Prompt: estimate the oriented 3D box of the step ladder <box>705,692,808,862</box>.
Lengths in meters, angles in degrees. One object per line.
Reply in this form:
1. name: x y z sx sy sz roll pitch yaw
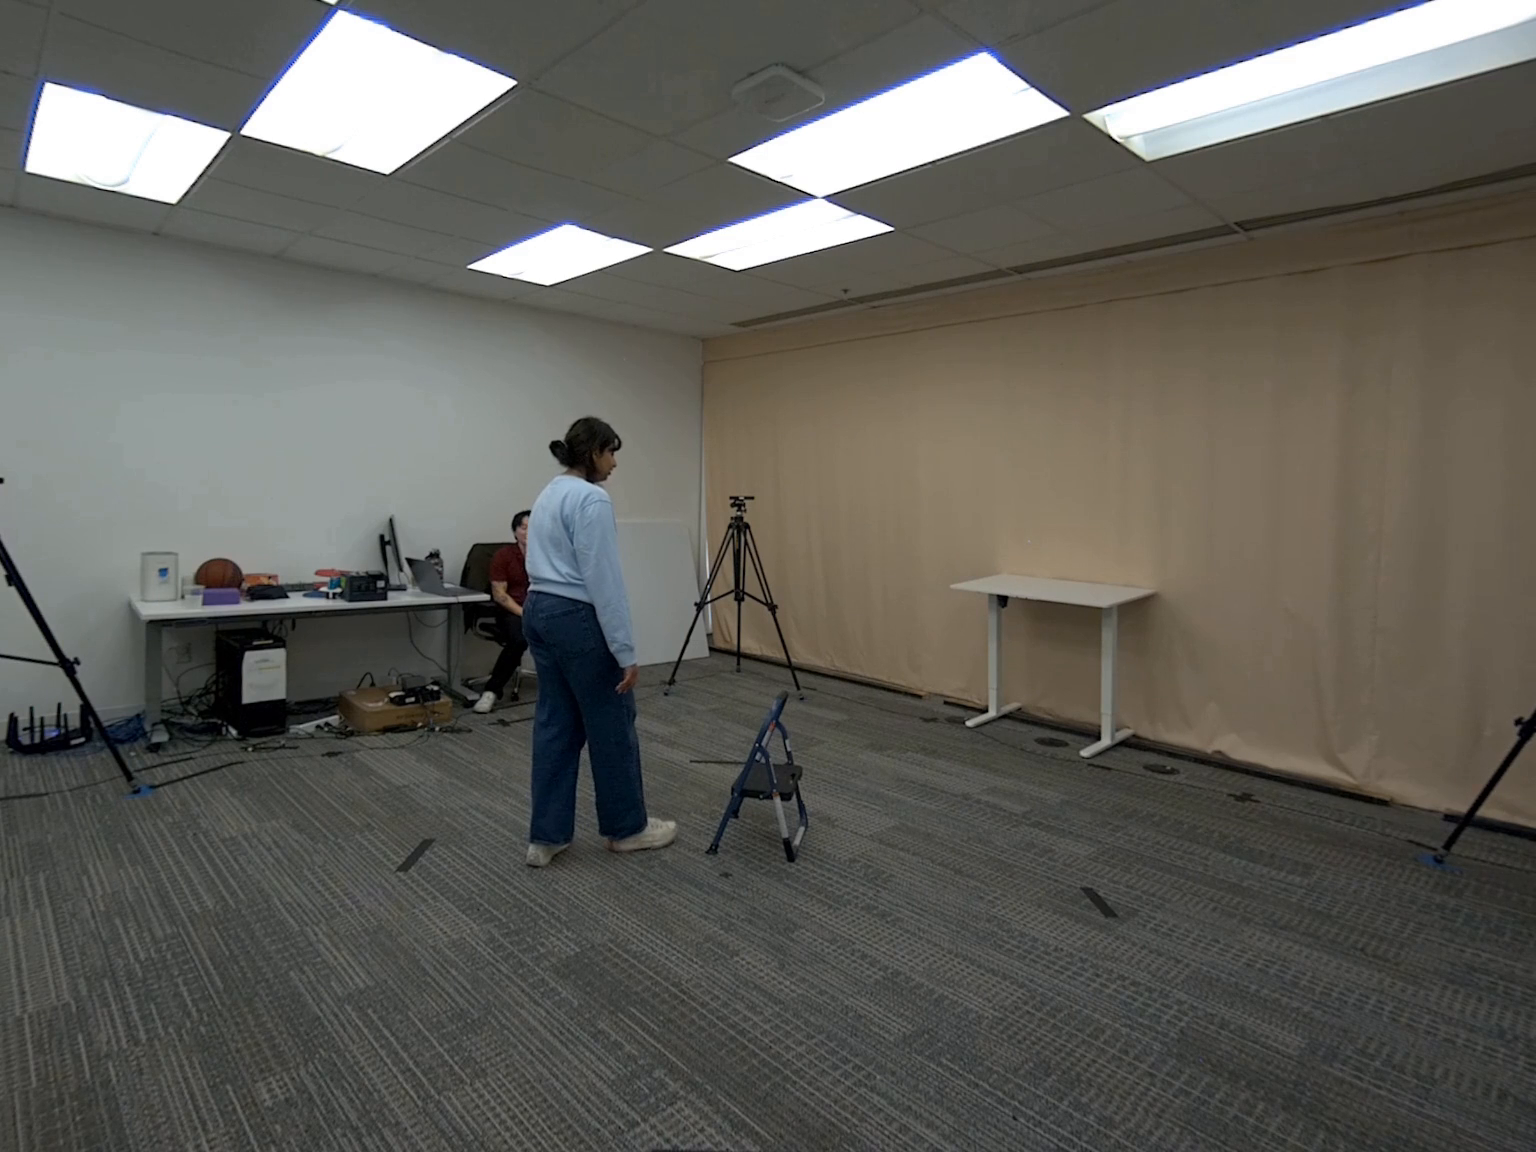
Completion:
1. step ladder: -0.029 0.774 3.445 0.353 0.605 0.427 2 3 12
